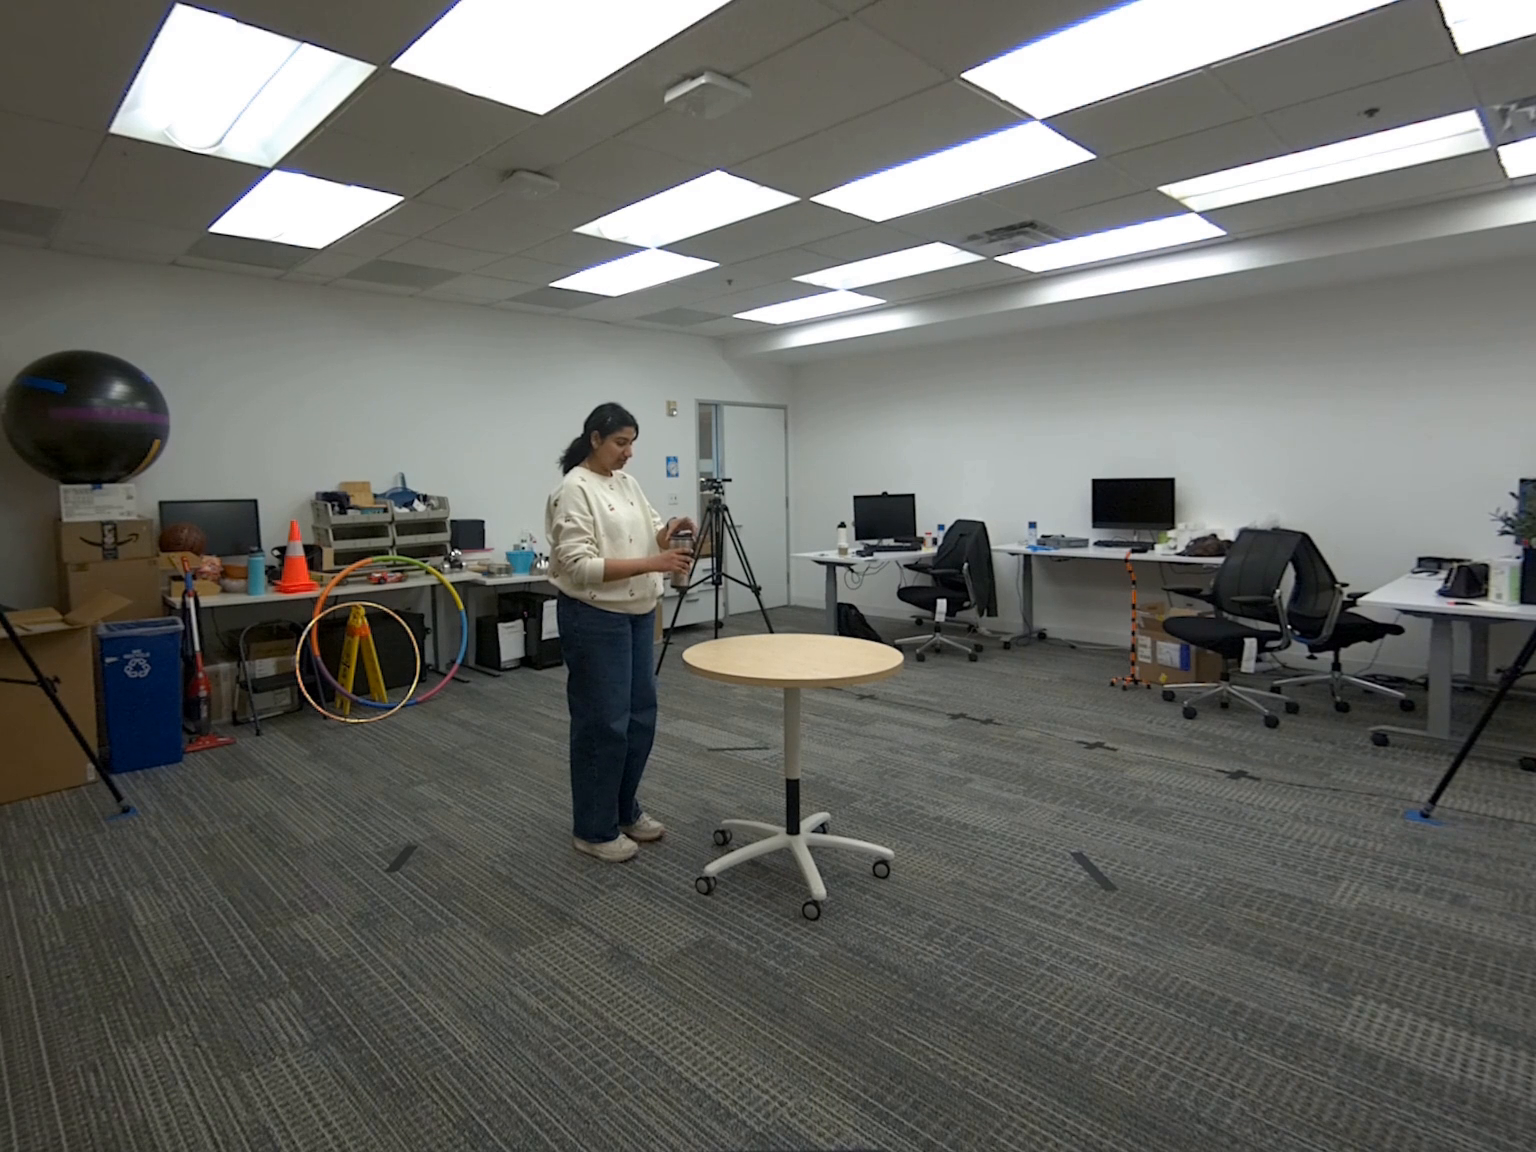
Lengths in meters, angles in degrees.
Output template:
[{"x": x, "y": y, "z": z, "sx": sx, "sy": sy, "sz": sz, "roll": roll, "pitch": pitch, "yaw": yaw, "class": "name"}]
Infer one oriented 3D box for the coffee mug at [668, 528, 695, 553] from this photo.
[{"x": -0.306, "y": -0.058, "z": 3.159, "sx": 0.119, "sy": 0.203, "sz": 0.090, "roll": -4, "pitch": -1, "yaw": -28, "class": "coffee mug"}]
